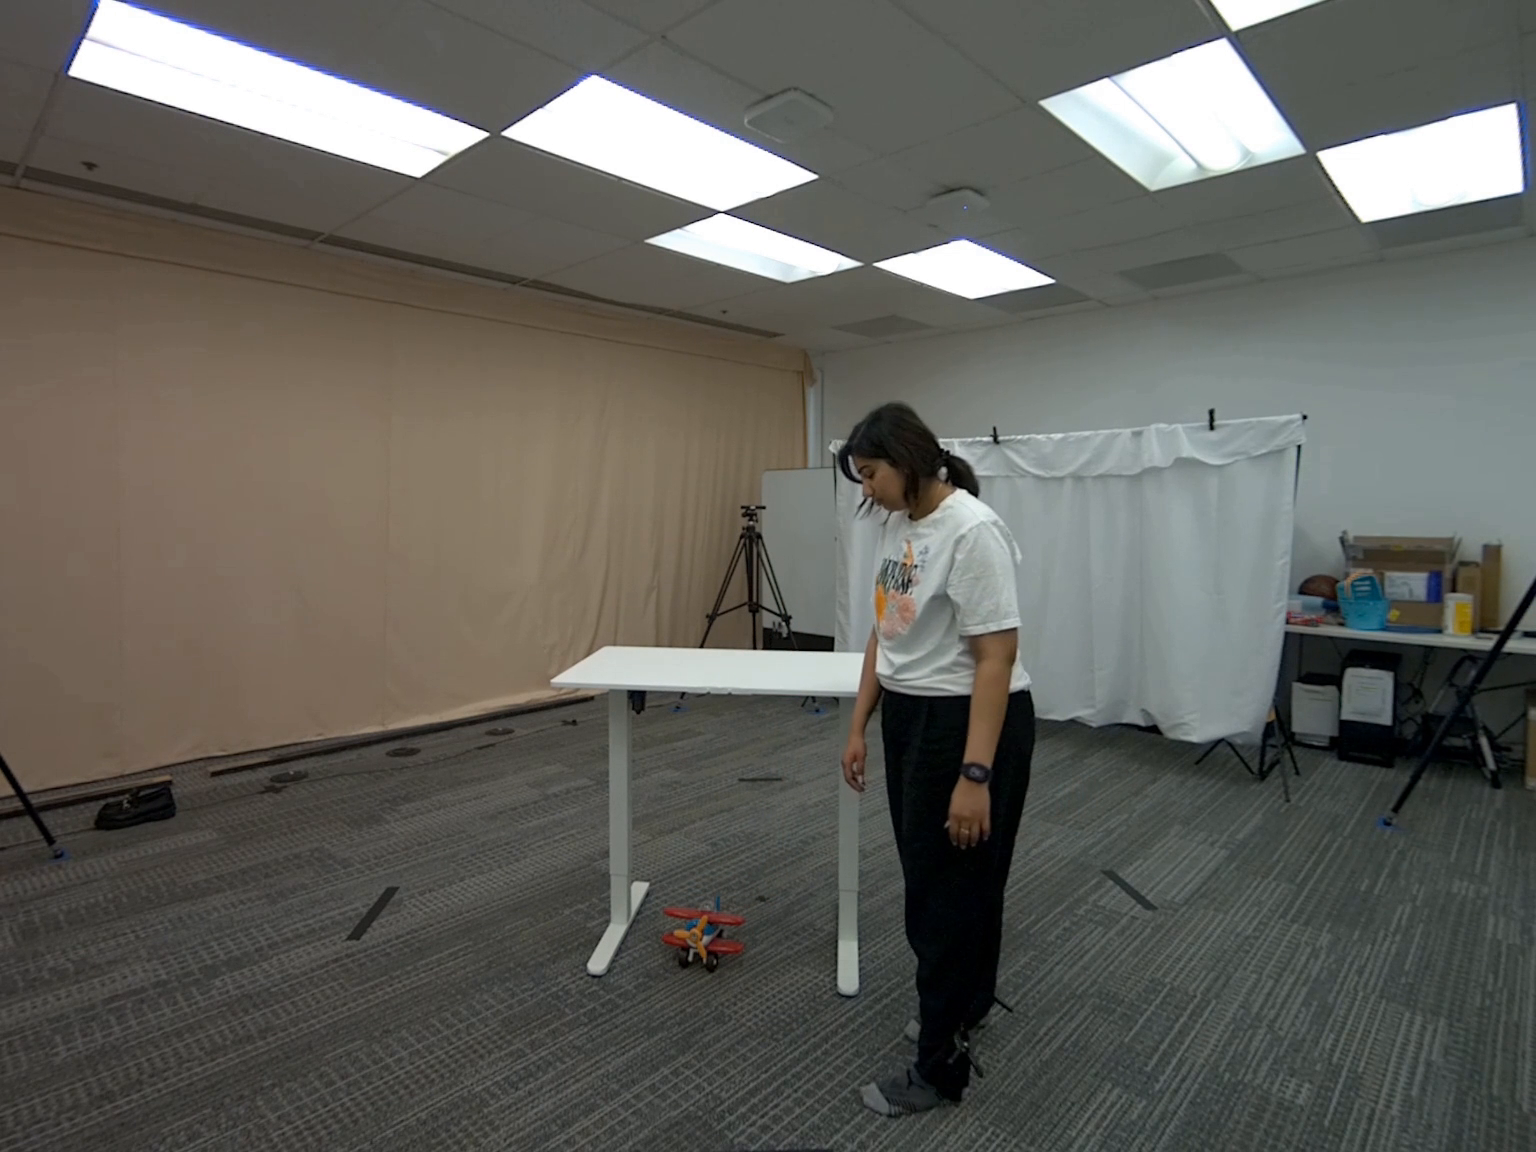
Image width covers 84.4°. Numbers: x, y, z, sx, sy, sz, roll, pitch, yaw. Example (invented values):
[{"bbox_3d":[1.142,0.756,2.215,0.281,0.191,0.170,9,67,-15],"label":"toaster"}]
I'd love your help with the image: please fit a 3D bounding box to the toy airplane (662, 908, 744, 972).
[{"bbox_3d":[-0.205,1.103,2.612,0.248,0.156,0.263,-1,5,-12],"label":"toy airplane"}]
